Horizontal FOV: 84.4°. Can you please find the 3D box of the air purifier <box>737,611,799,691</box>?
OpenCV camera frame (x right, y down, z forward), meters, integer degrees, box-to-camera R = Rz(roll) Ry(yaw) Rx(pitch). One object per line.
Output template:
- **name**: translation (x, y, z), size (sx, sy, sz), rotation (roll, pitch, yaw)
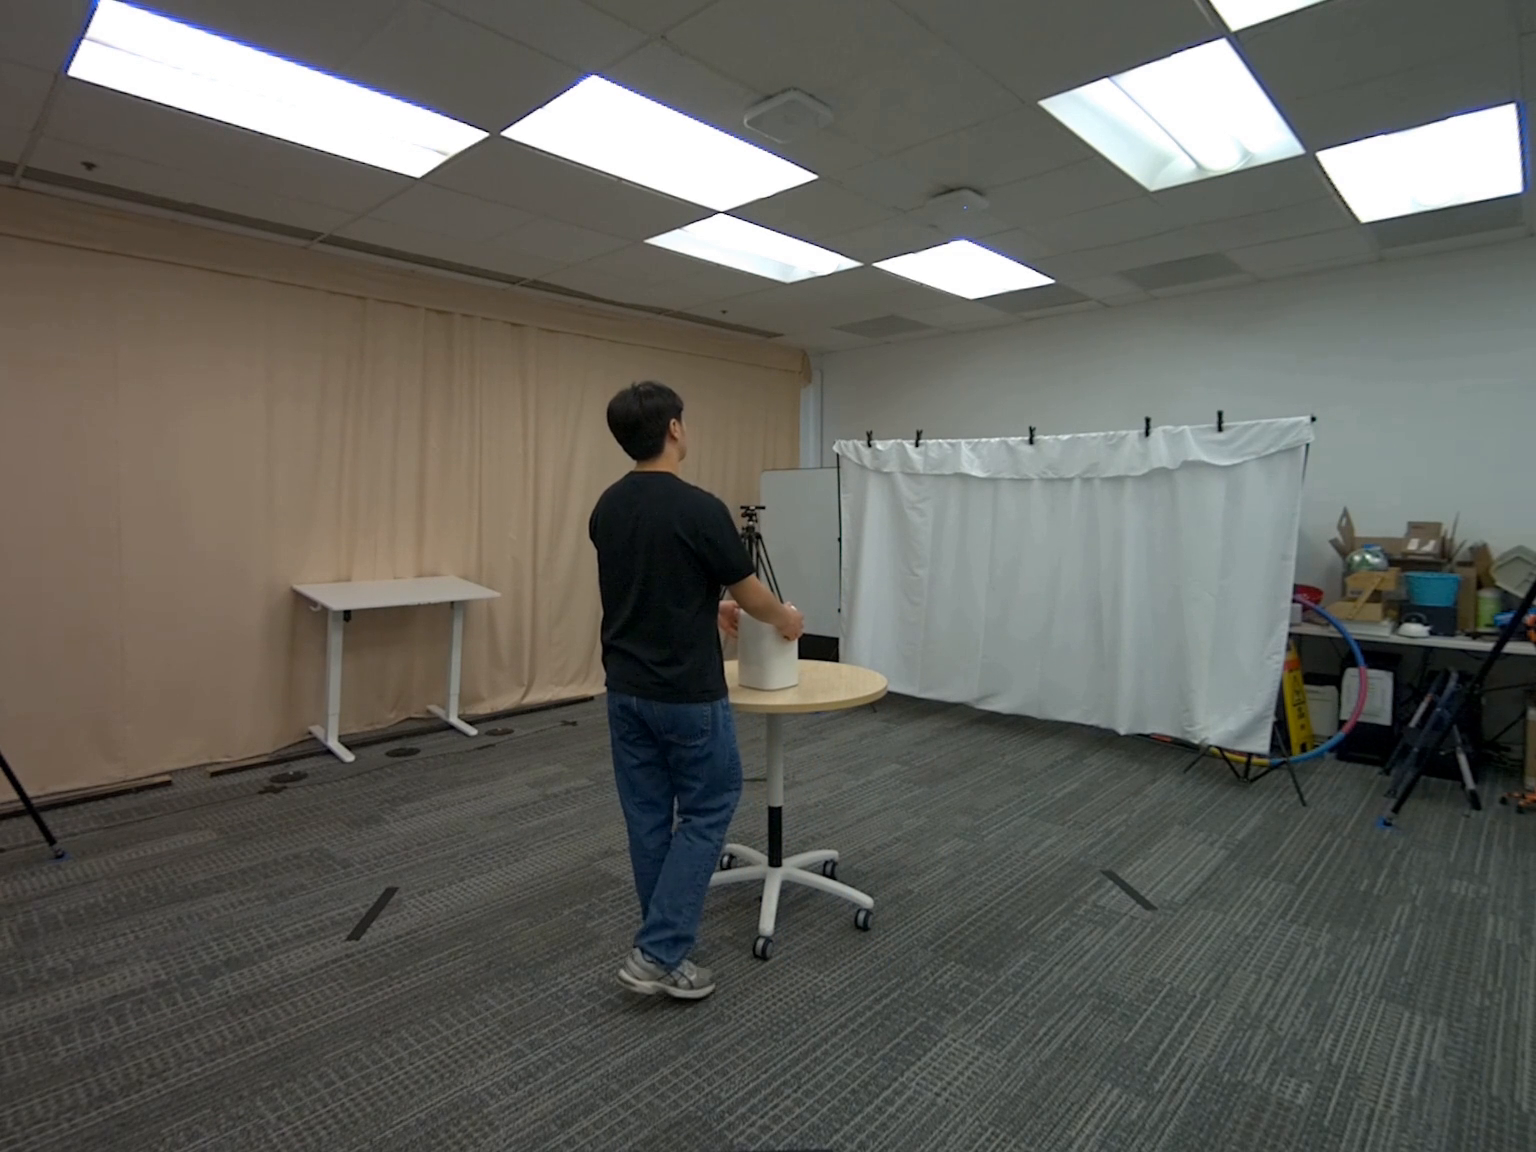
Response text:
- **air purifier**: translation (0.008, 0.231, 2.799), size (0.166, 0.265, 0.177), rotation (-3, 5, -41)
